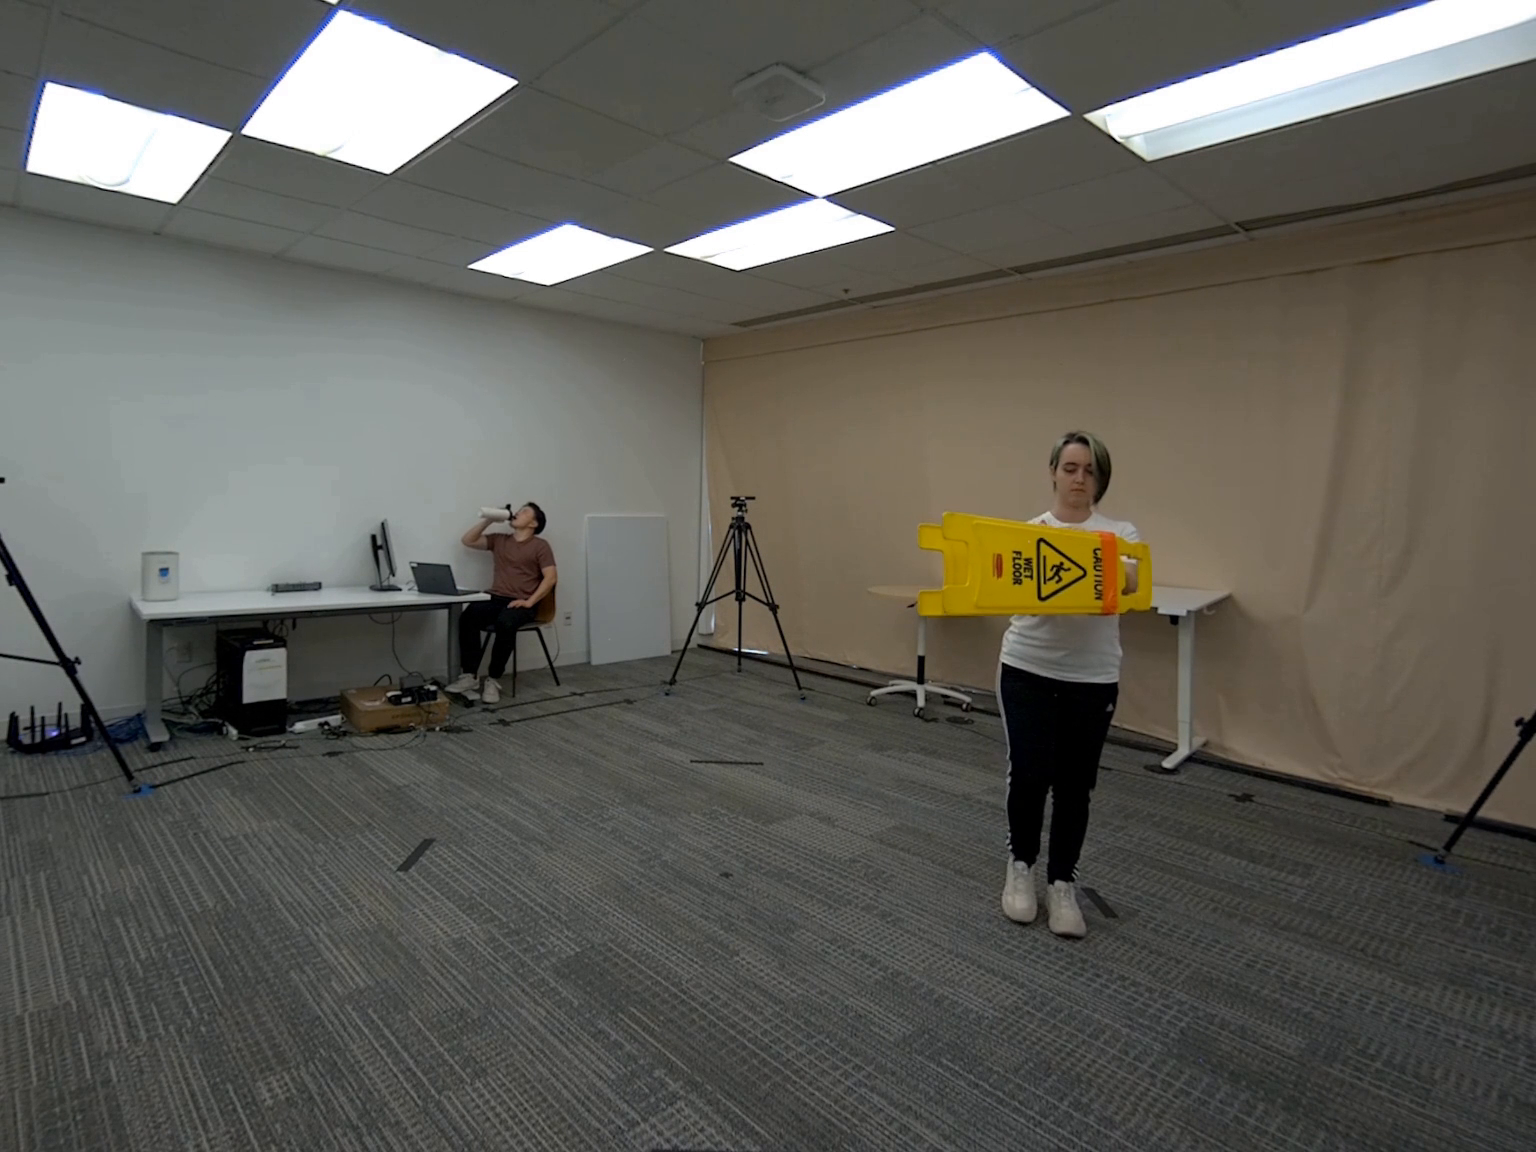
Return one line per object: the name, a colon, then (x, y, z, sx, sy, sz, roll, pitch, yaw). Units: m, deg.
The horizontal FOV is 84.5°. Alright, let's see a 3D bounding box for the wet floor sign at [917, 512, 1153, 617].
wet floor sign: (0.774, -0.007, 2.423, 0.644, 0.283, 0.290, 3, -5, -5)
